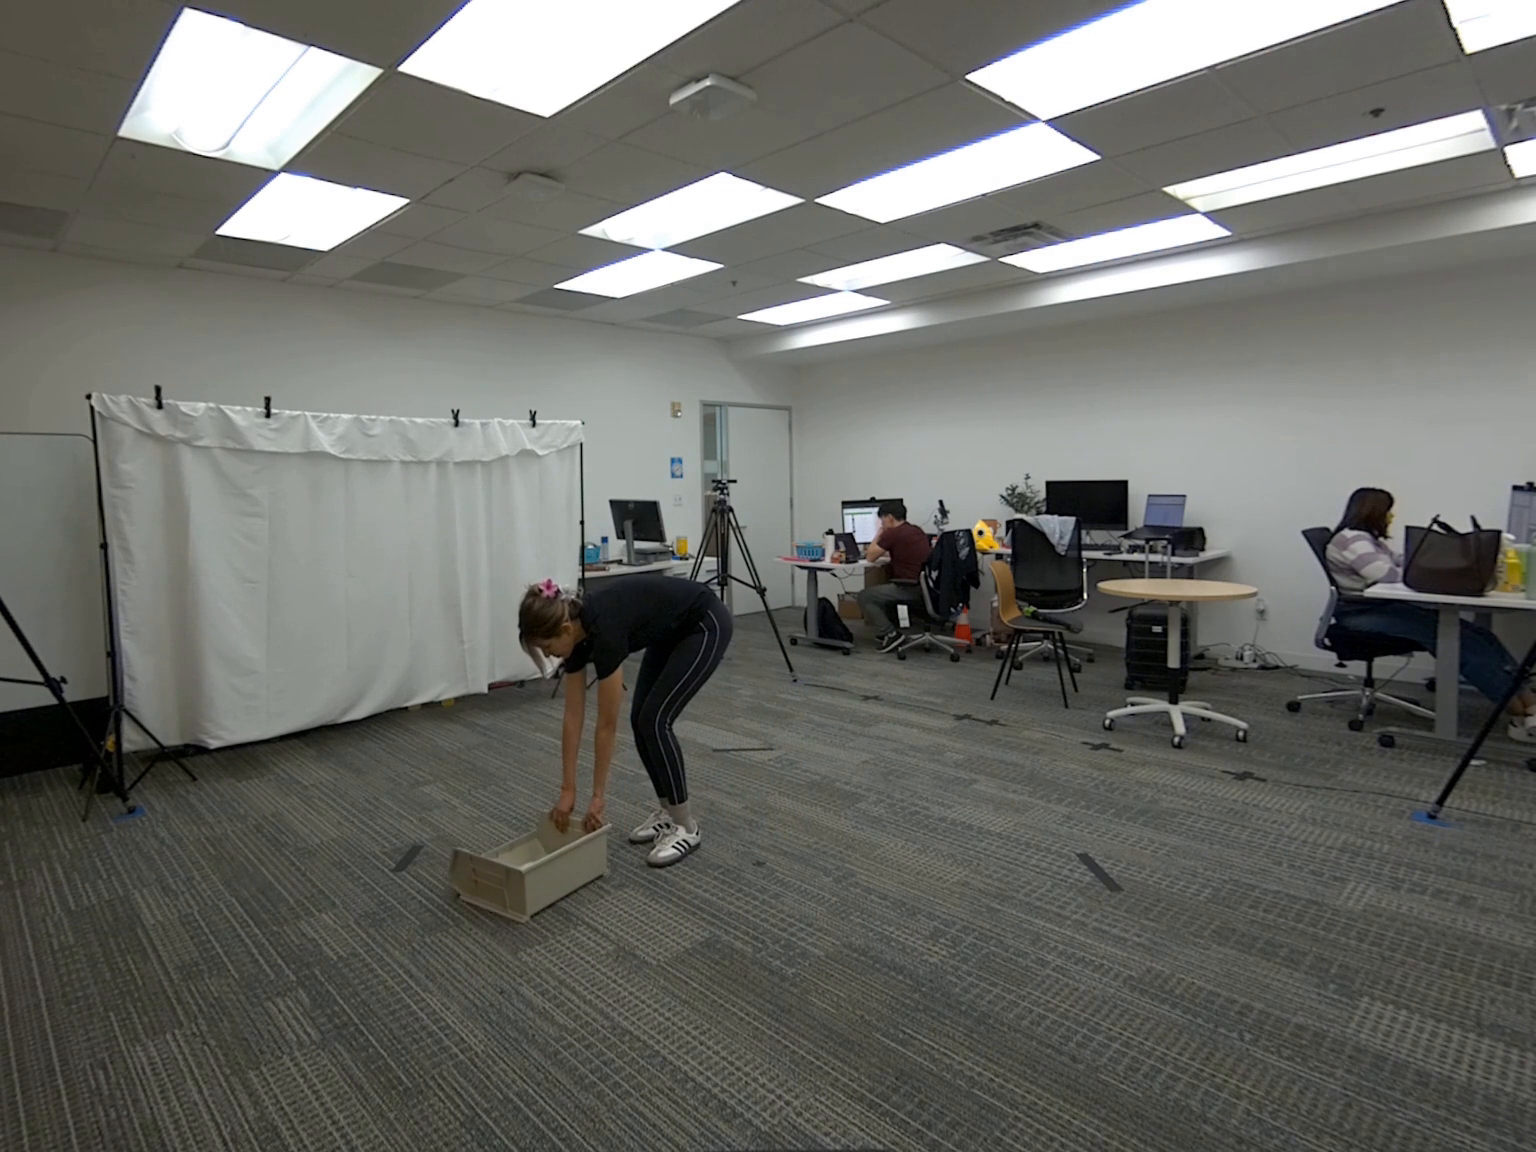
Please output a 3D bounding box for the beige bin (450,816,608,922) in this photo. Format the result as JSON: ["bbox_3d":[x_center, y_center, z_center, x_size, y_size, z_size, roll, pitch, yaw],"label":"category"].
[{"bbox_3d":[-0.821,0.987,2.981,0.388,0.188,0.412,4,7,33],"label":"beige bin"}]
